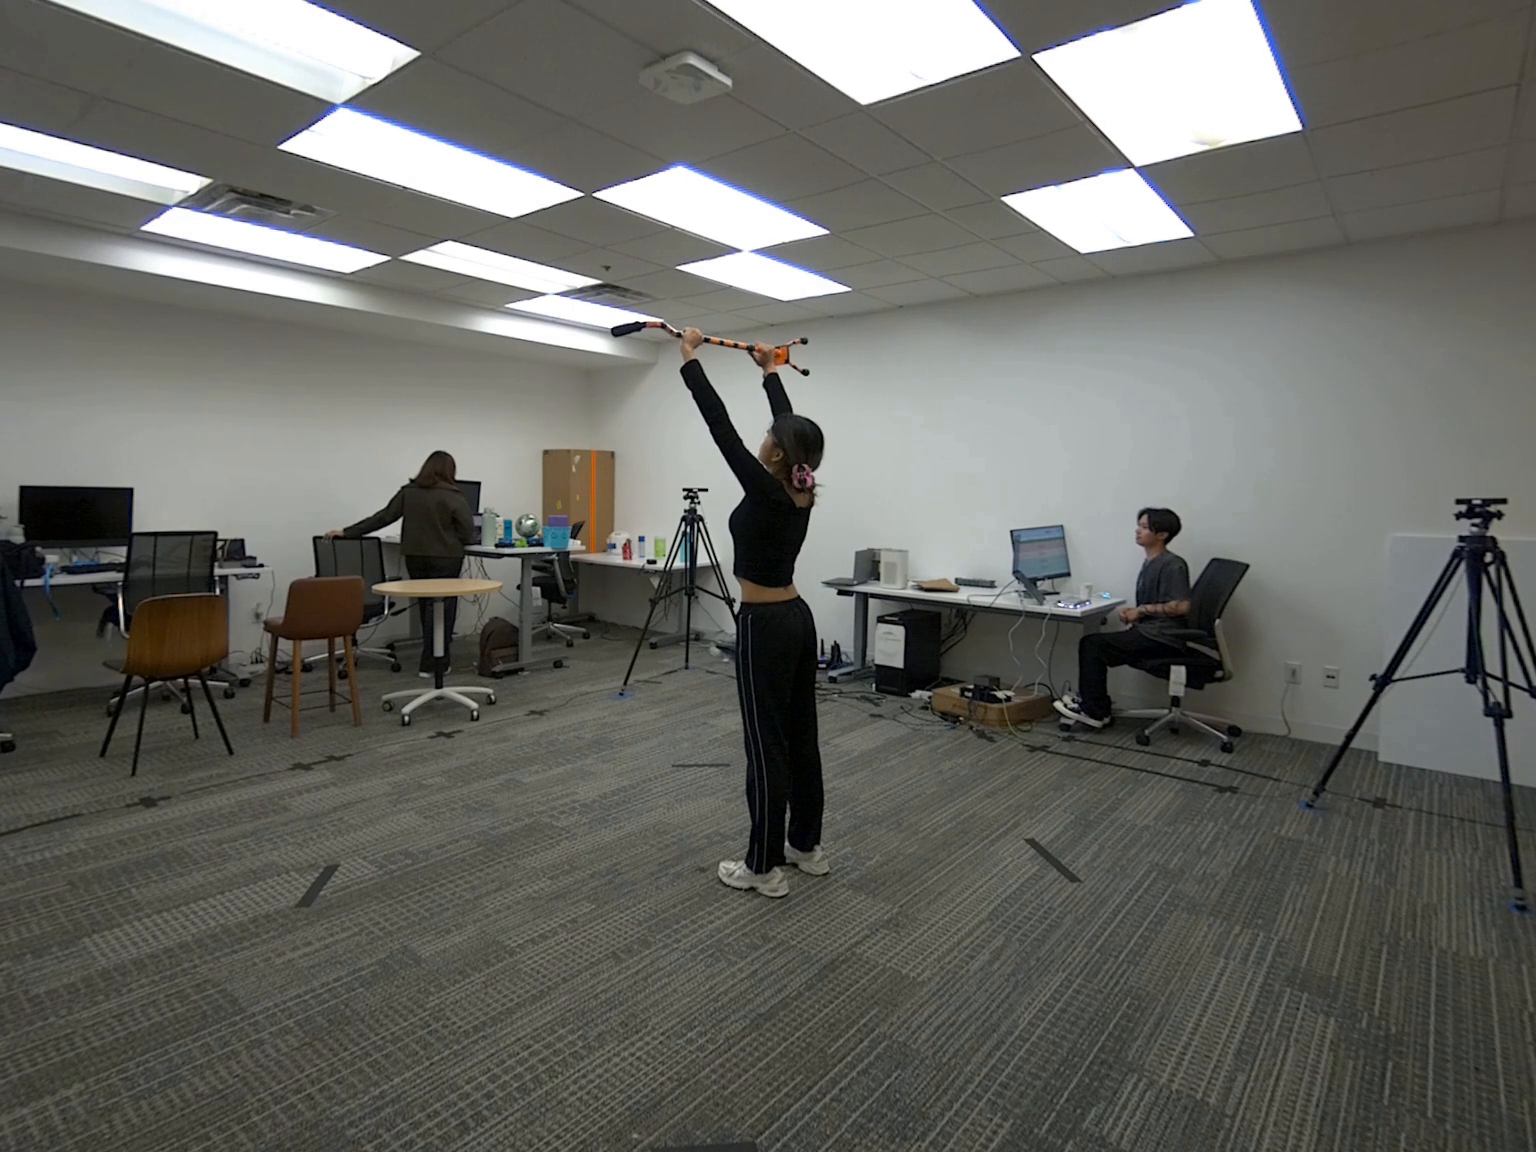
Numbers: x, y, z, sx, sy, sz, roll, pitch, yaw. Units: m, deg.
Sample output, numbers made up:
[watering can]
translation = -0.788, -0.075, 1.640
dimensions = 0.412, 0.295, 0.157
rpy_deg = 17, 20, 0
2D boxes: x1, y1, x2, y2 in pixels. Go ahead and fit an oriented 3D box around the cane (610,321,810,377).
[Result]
[cane]
translation = -0.185, -0.825, 3.035
dimensions = 0.212, 0.151, 0.883
rpy_deg = -1, 4, 36
